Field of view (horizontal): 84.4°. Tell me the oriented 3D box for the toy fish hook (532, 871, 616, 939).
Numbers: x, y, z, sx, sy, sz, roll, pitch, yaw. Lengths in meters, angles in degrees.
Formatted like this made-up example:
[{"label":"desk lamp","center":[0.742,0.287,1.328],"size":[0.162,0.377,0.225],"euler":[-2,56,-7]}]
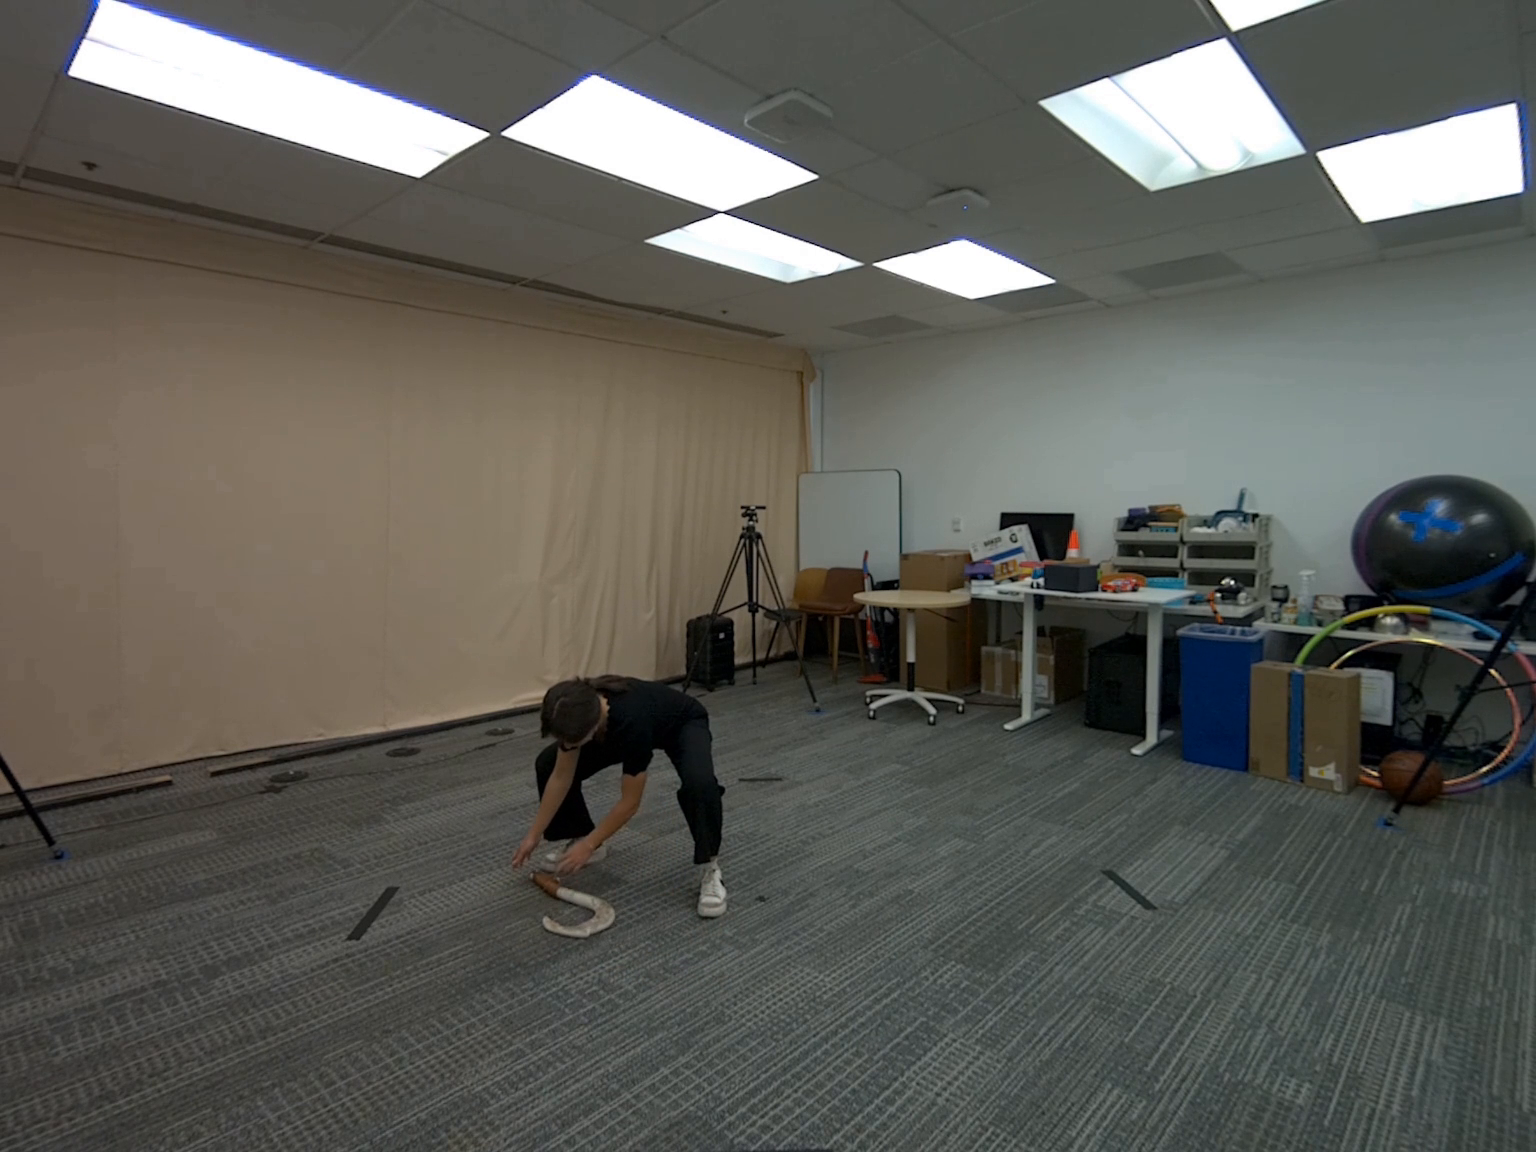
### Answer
[{"label":"toy fish hook","center":[-0.728,1.135,2.916],"size":[0.217,0.048,0.523],"euler":[-1,4,-45]}]
